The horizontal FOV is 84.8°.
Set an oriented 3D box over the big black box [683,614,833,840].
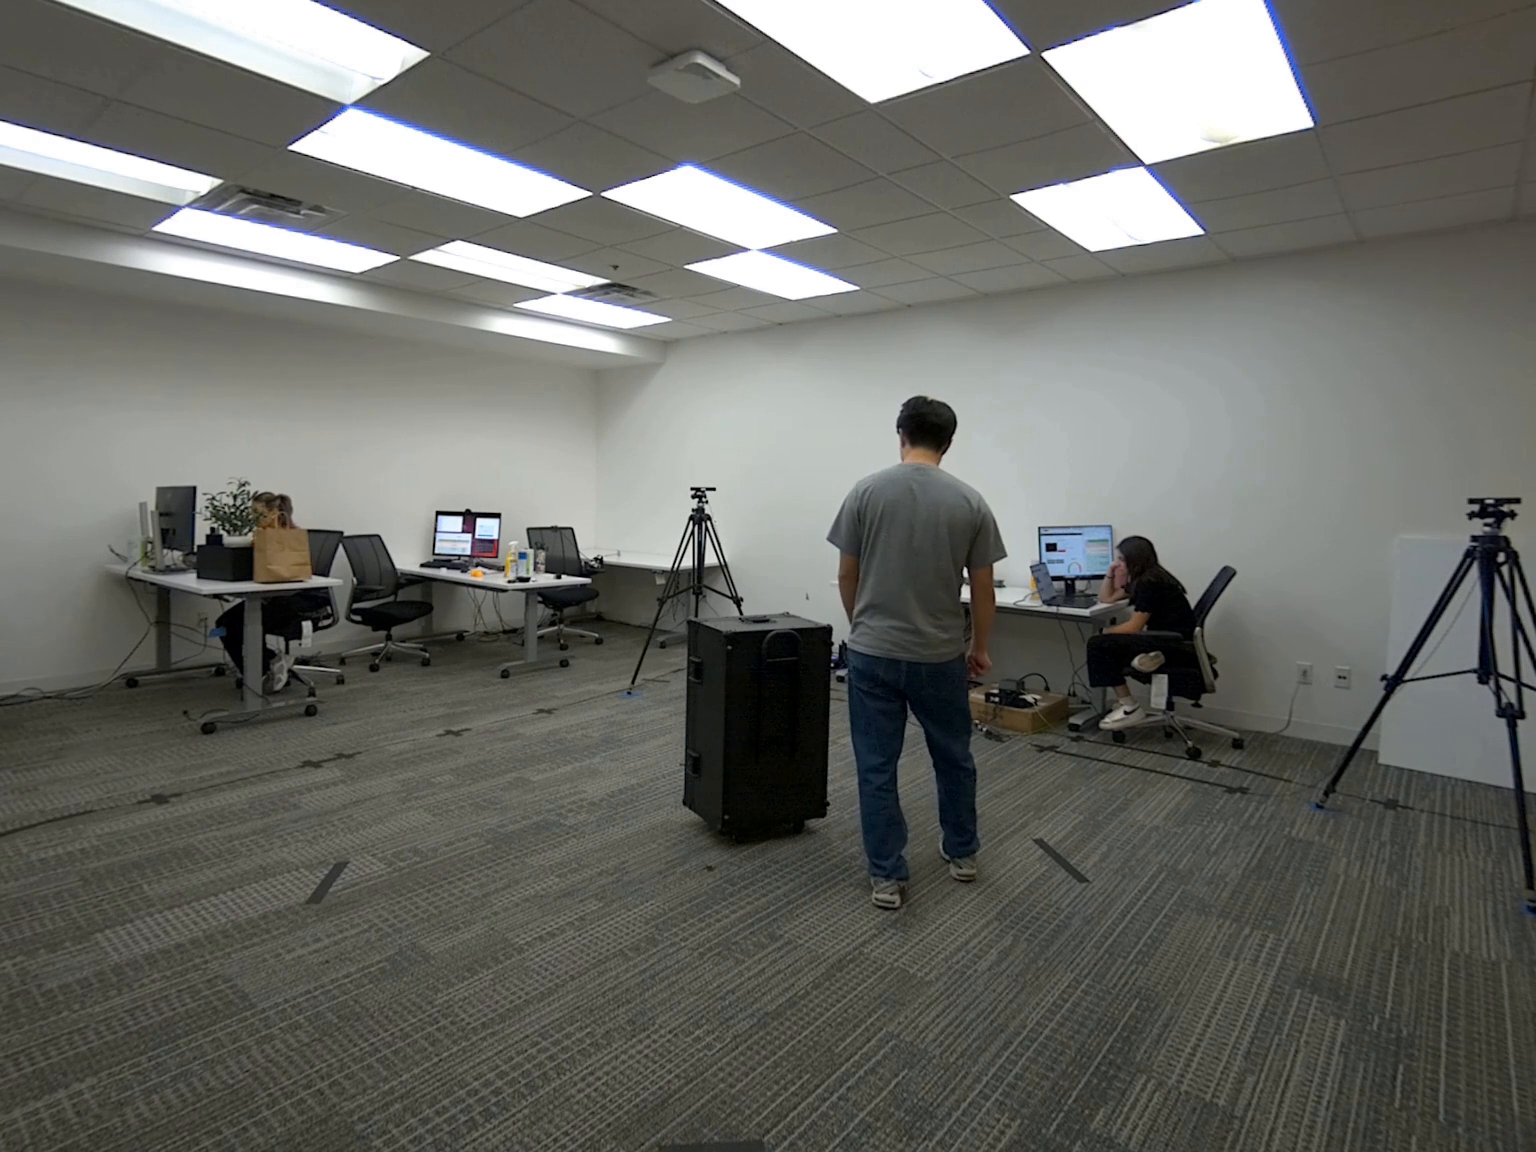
[{"bbox_3d":[-0.049,0.606,3.469,0.508,0.858,0.408,-1,5,-28],"label":"big black box"}]
